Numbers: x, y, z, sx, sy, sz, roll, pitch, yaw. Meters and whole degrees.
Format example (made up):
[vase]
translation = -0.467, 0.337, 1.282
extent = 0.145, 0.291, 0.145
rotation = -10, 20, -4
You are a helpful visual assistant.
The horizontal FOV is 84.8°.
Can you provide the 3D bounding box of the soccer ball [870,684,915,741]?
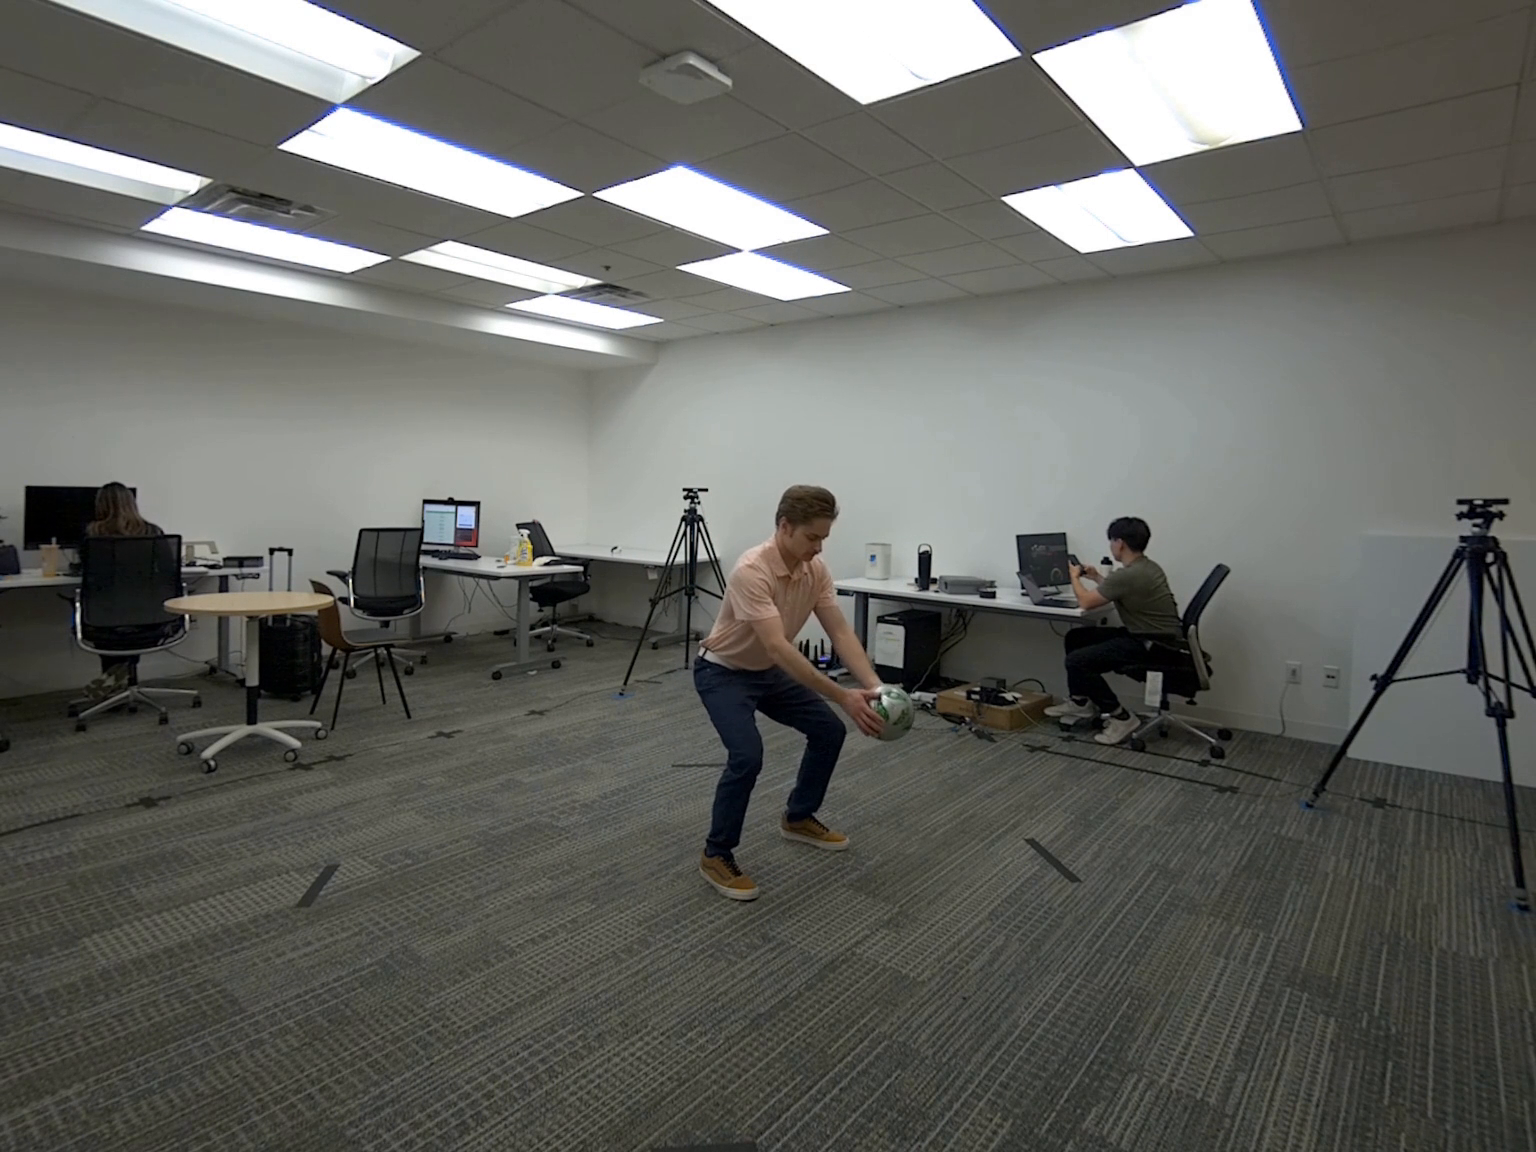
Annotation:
[soccer ball]
translation = 0.400, 0.461, 2.840
extent = 0.187, 0.187, 0.188
rotation = 1, 4, -2
